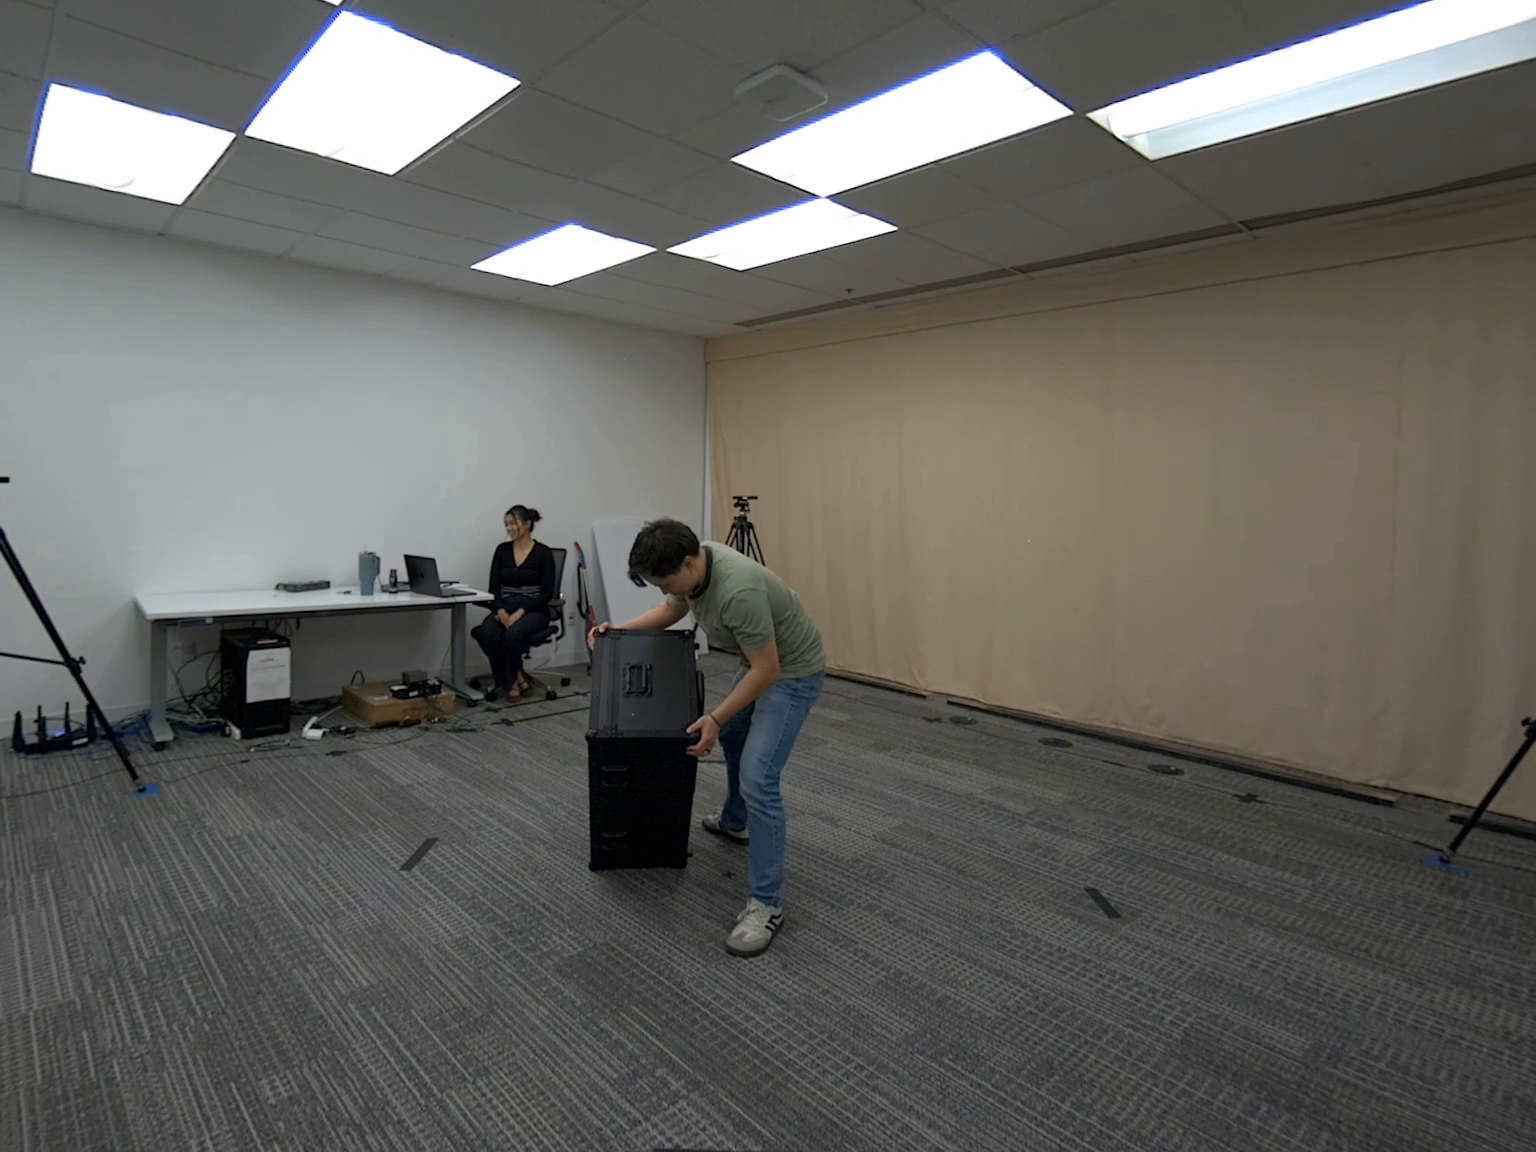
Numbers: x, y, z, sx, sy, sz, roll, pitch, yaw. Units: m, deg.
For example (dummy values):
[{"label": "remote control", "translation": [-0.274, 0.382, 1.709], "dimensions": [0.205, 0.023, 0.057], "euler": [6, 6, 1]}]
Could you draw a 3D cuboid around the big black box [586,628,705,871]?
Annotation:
[{"label": "big black box", "translation": [-0.461, 0.664, 3.102], "dimensions": [0.394, 0.846, 0.534], "euler": [2, 40, -9]}]
